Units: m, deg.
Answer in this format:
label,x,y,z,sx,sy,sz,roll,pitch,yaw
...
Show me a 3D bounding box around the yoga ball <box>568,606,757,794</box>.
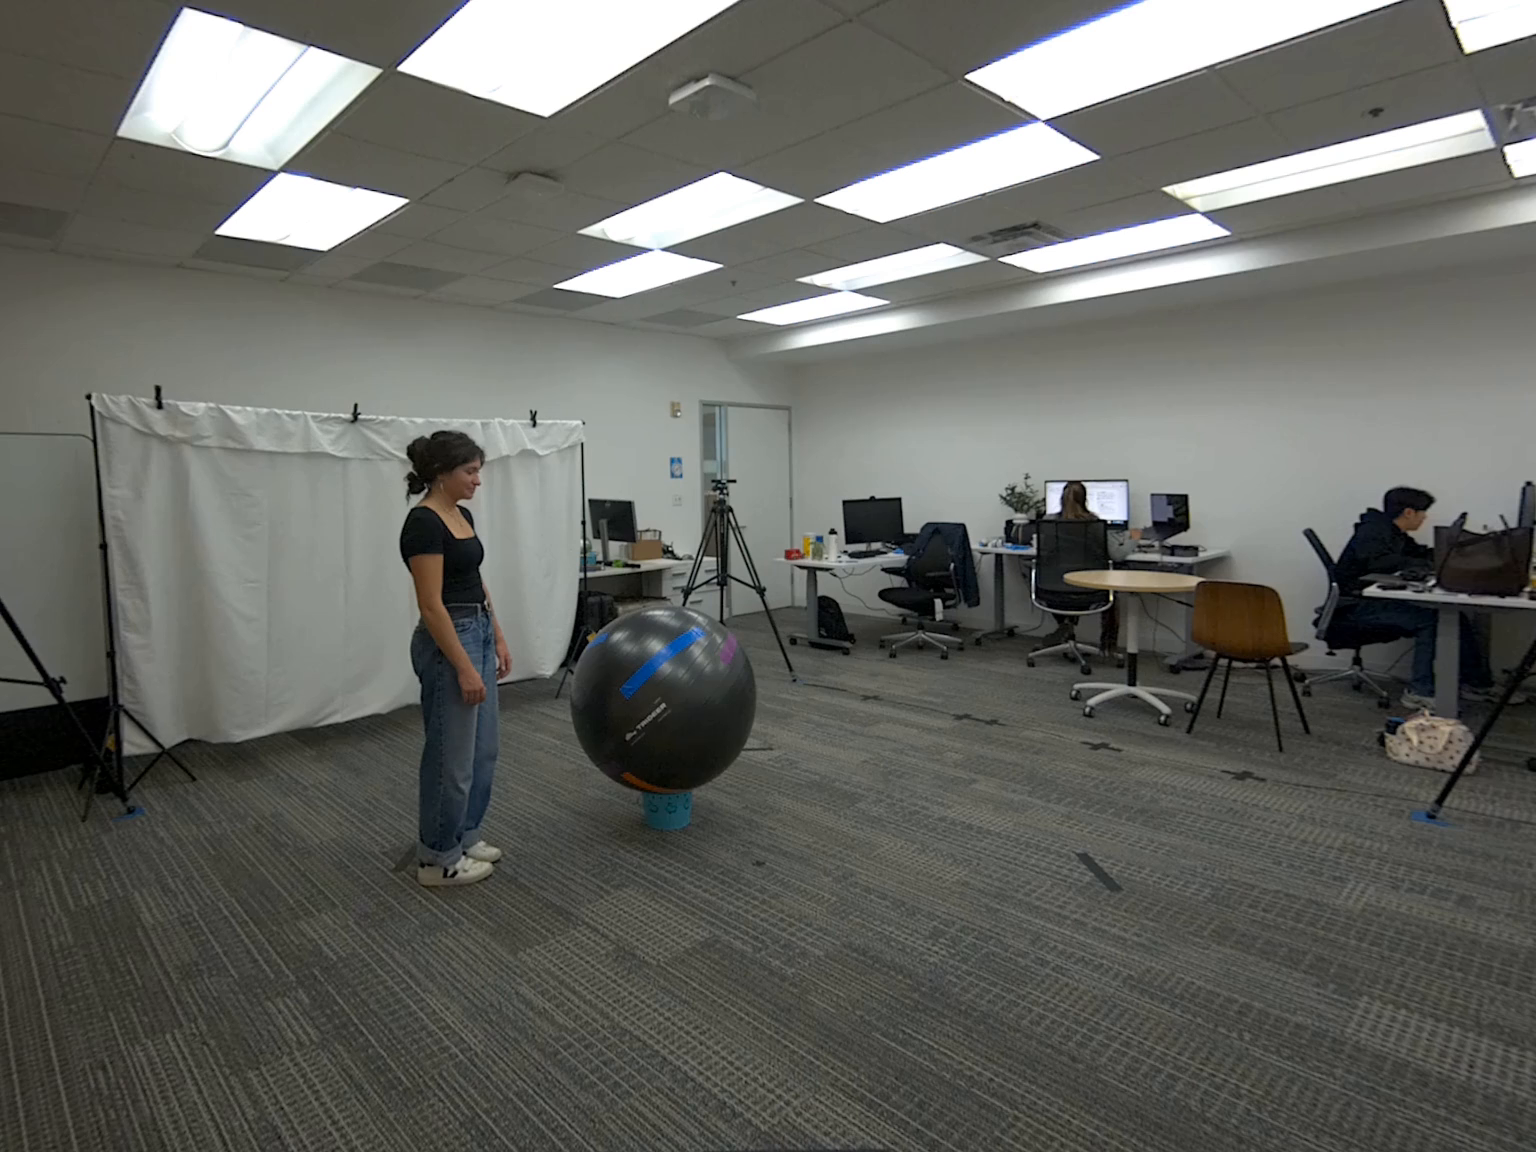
label,x,y,z,sx,sy,sz,roll,pitch,yaw
yoga ball,-0.441,0.515,3.499,0.757,0.755,0.762,-1,5,-2
